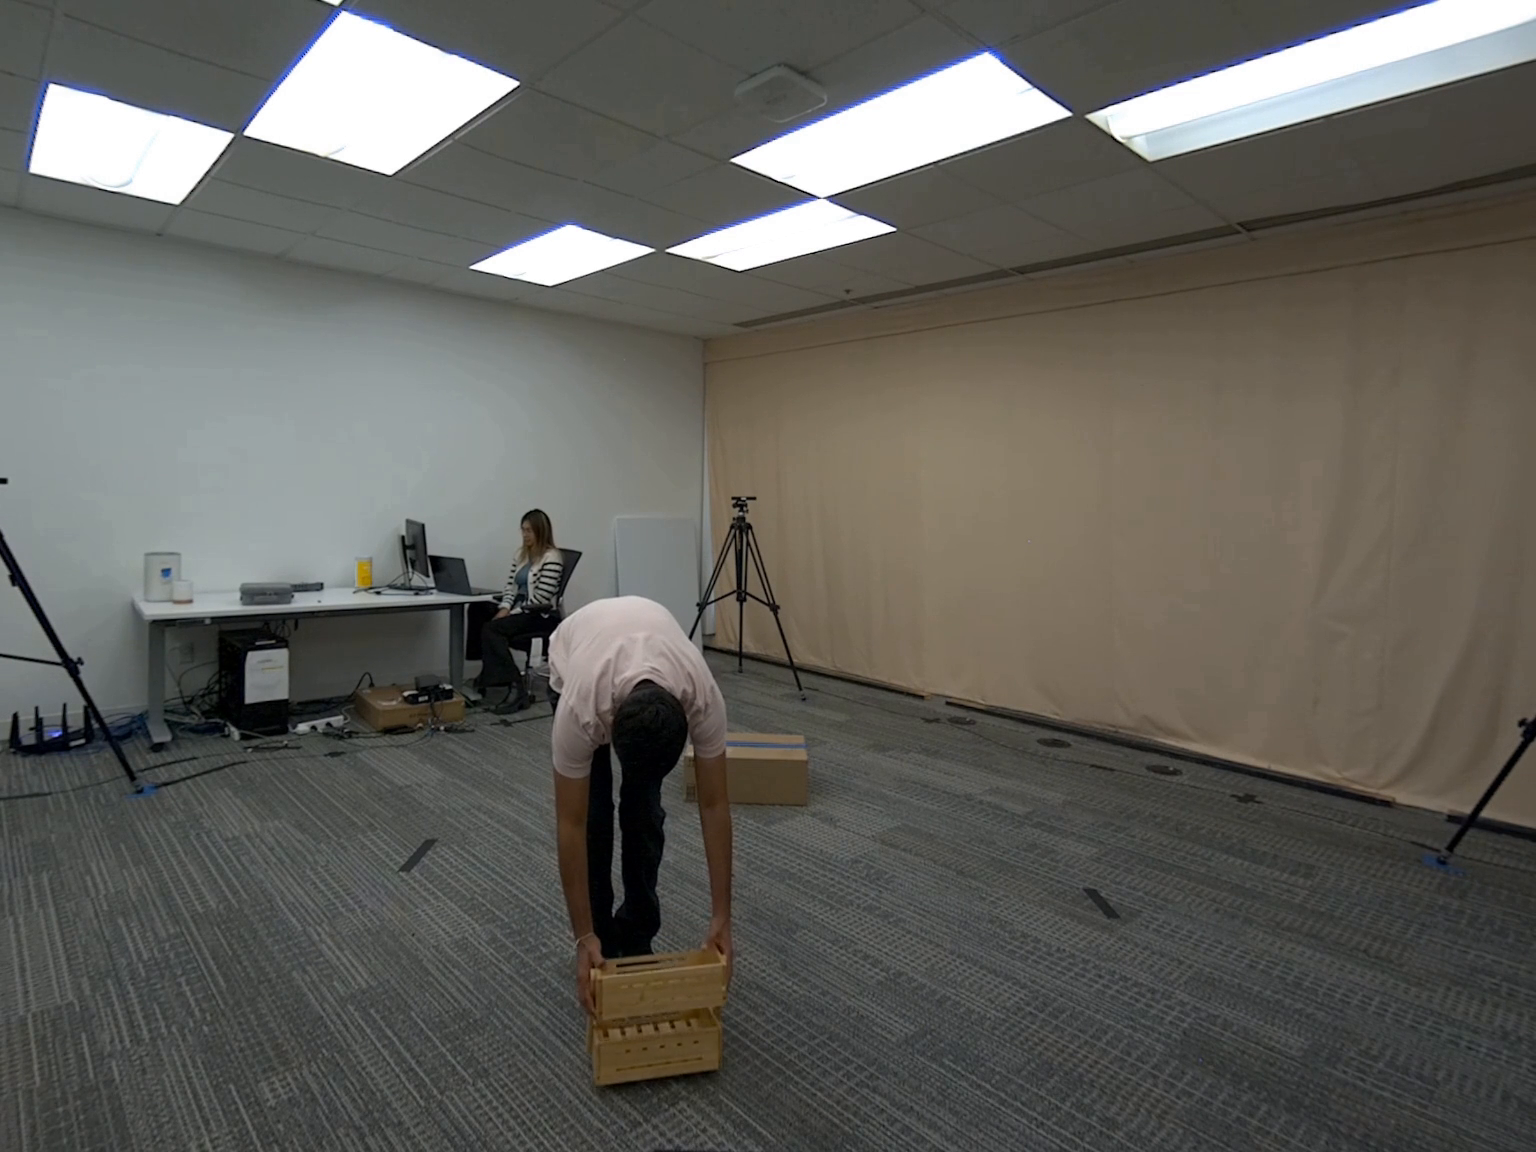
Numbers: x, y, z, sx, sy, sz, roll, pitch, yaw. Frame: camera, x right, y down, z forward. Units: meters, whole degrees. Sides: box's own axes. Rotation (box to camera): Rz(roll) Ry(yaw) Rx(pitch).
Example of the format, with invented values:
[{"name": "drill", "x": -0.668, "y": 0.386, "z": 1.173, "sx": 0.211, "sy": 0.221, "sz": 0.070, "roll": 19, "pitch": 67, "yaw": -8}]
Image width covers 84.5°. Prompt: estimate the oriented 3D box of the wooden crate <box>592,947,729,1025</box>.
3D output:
[{"name": "wooden crate", "x": -0.285, "y": 1.043, "z": 2.083, "sx": 0.320, "sy": 0.274, "sz": 0.305, "roll": 1, "pitch": -3, "yaw": -15}]
